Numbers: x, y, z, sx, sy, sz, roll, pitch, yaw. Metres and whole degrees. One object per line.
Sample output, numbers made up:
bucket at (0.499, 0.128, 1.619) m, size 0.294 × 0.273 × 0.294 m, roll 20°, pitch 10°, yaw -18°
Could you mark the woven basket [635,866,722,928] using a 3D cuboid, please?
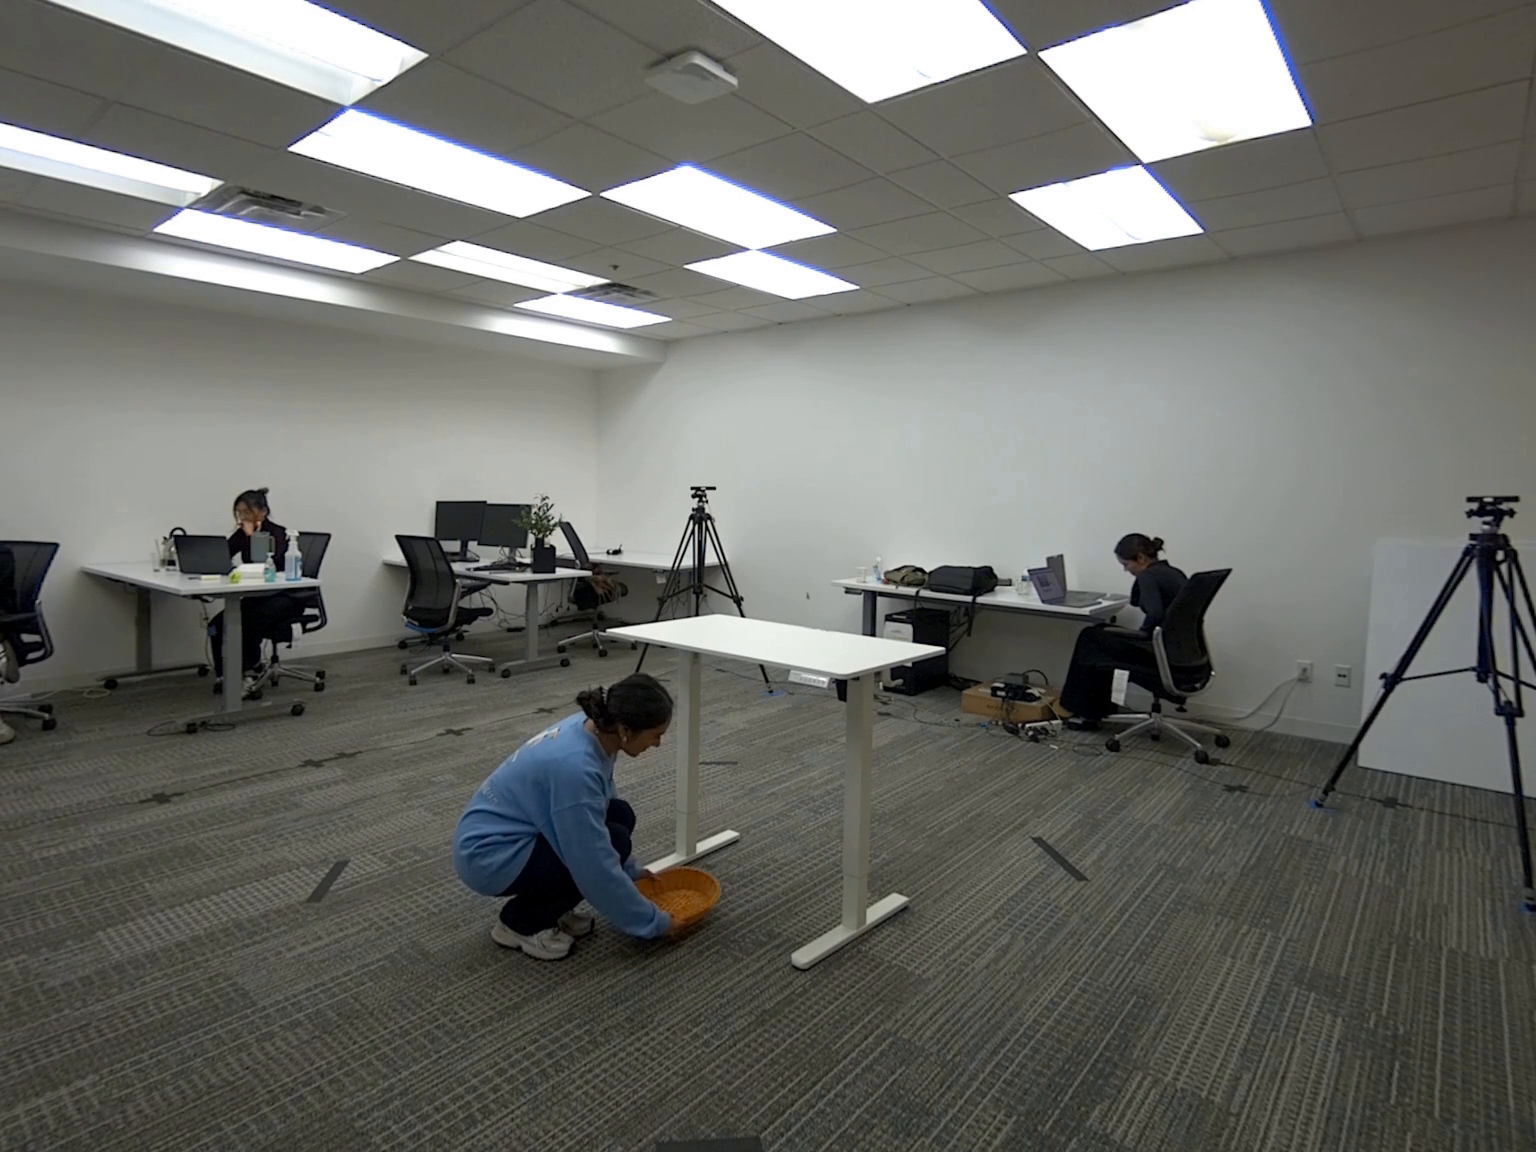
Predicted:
woven basket at (-0.320, 1.036, 2.691) m, size 0.341 × 0.073 × 0.262 m, roll -7°, pitch 14°, yaw -35°
